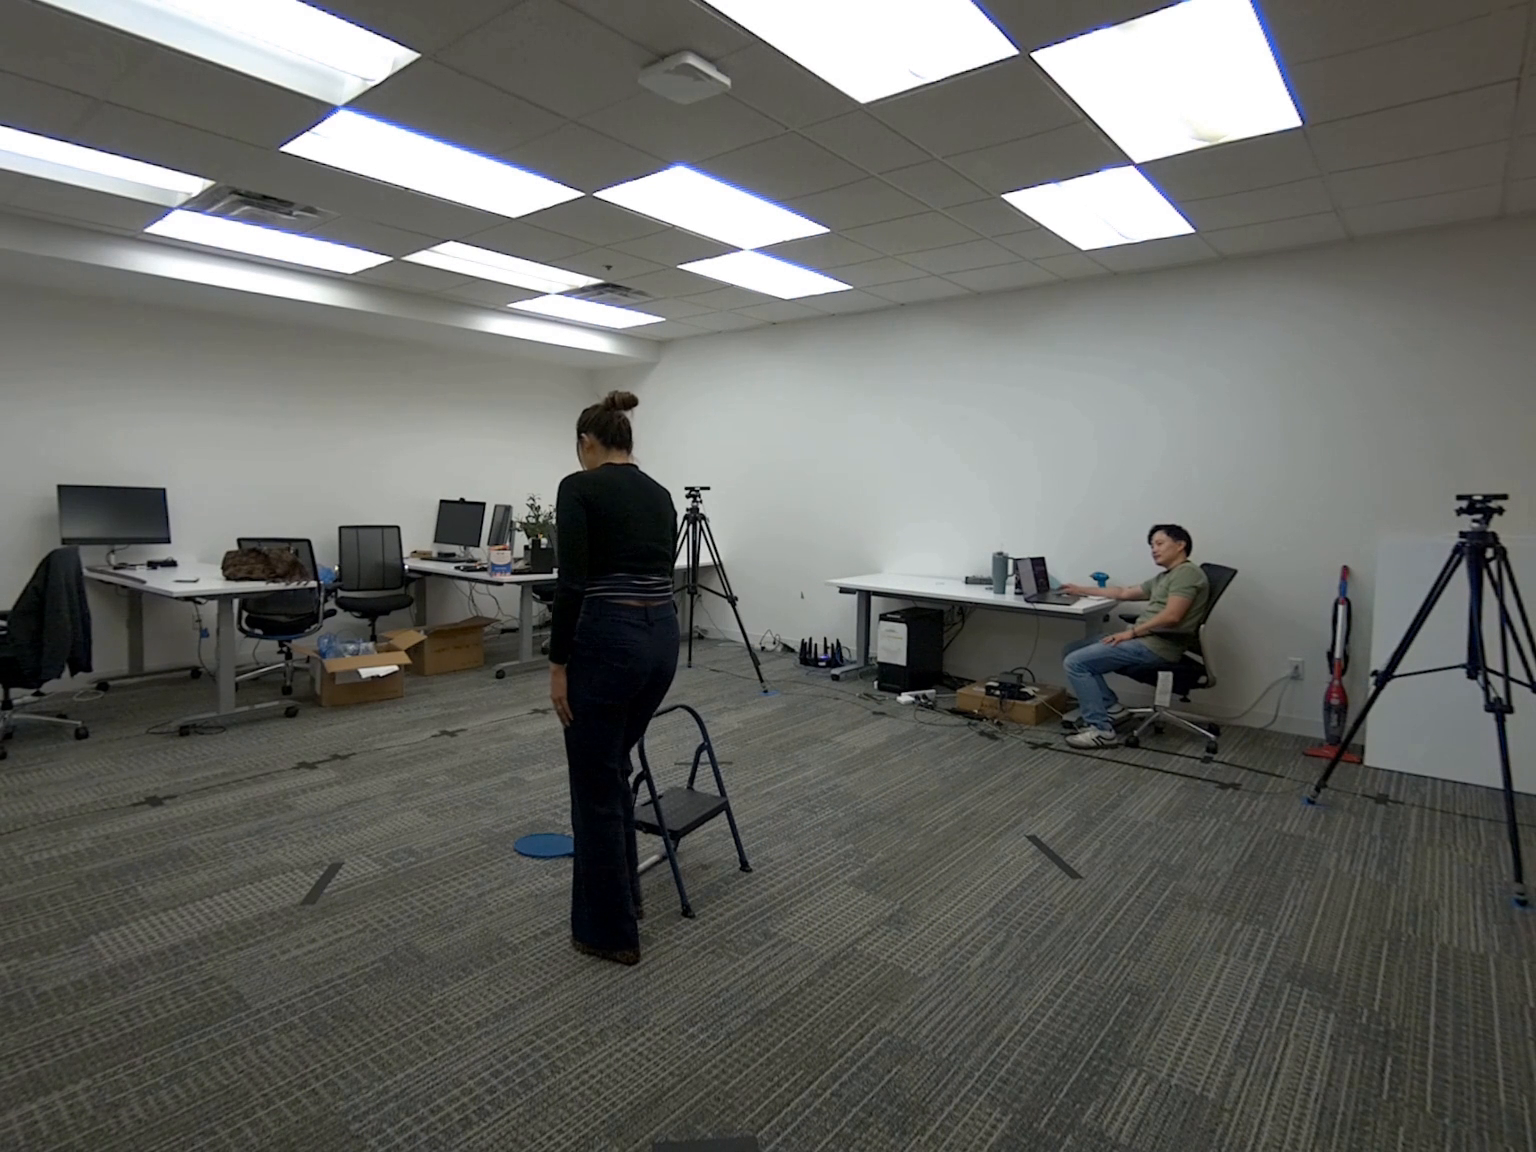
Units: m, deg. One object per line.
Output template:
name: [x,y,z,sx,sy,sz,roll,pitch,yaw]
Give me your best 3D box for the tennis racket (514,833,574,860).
tennis racket: [-0.783,1.031,3.231,0.443,0.031,0.209,1,5,22]
